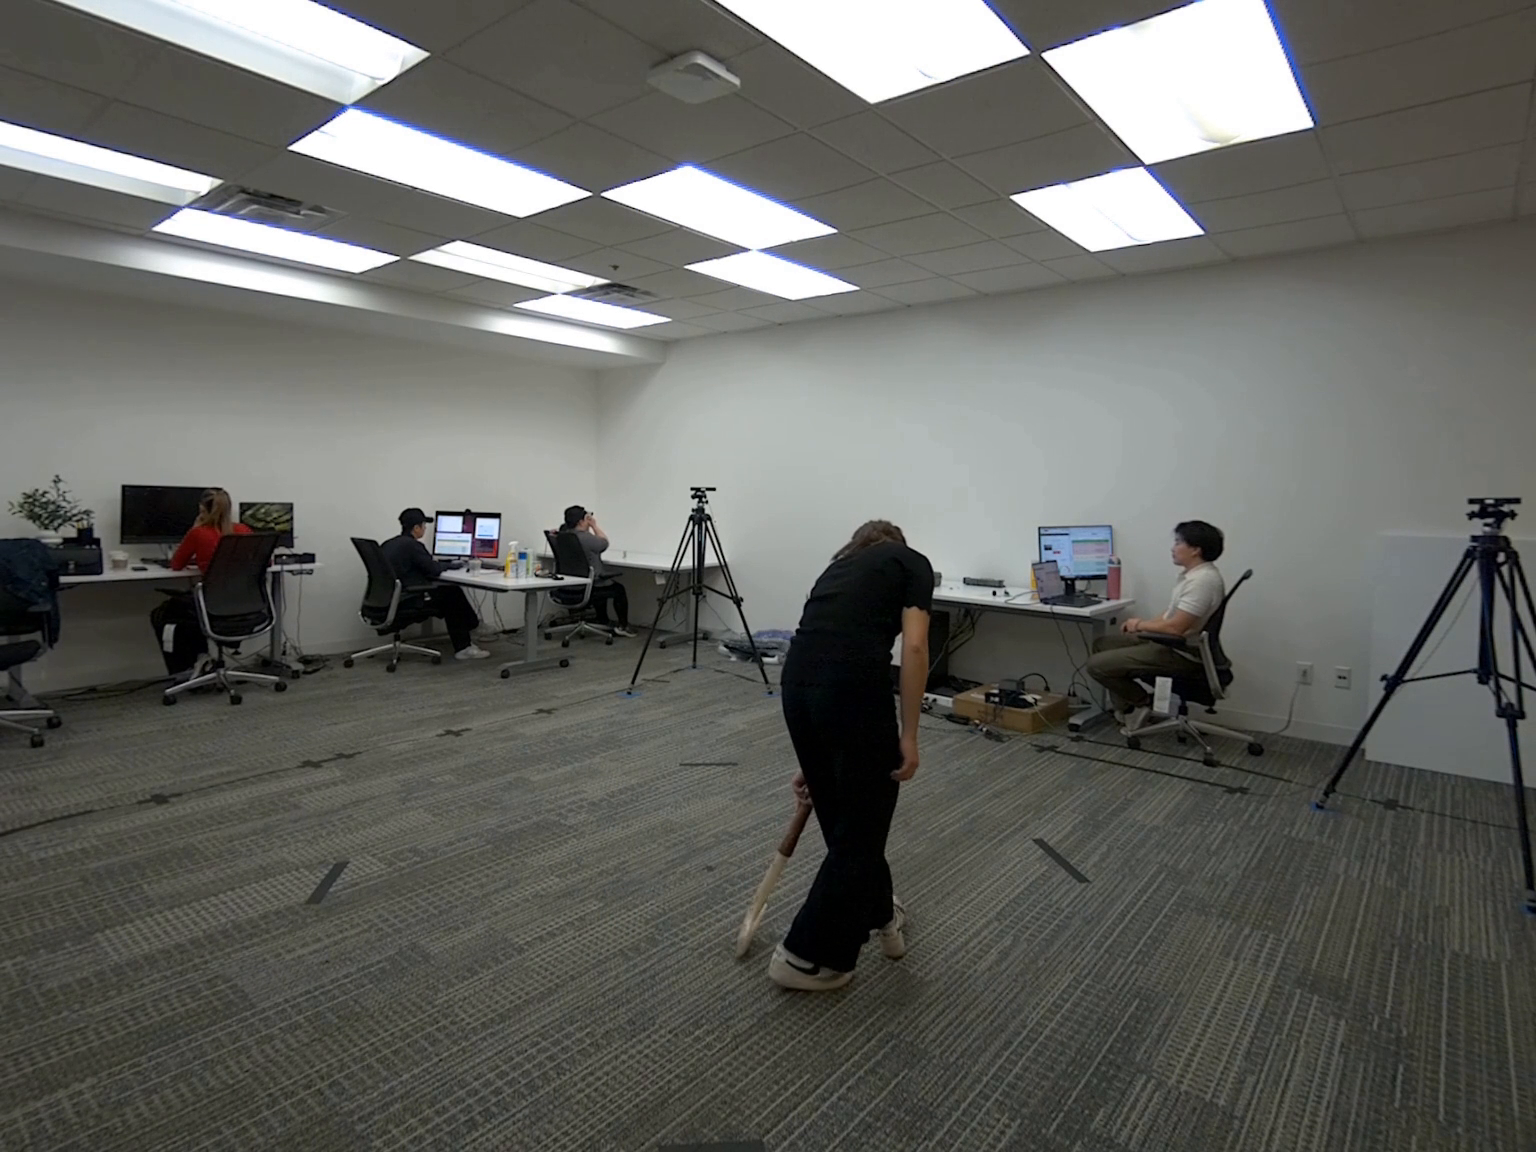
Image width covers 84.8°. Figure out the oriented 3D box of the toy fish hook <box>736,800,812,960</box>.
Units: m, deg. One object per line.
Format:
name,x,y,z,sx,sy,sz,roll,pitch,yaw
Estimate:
toy fish hook,0.022,0.897,2.544,0.048,0.506,0.225,24,3,-4
